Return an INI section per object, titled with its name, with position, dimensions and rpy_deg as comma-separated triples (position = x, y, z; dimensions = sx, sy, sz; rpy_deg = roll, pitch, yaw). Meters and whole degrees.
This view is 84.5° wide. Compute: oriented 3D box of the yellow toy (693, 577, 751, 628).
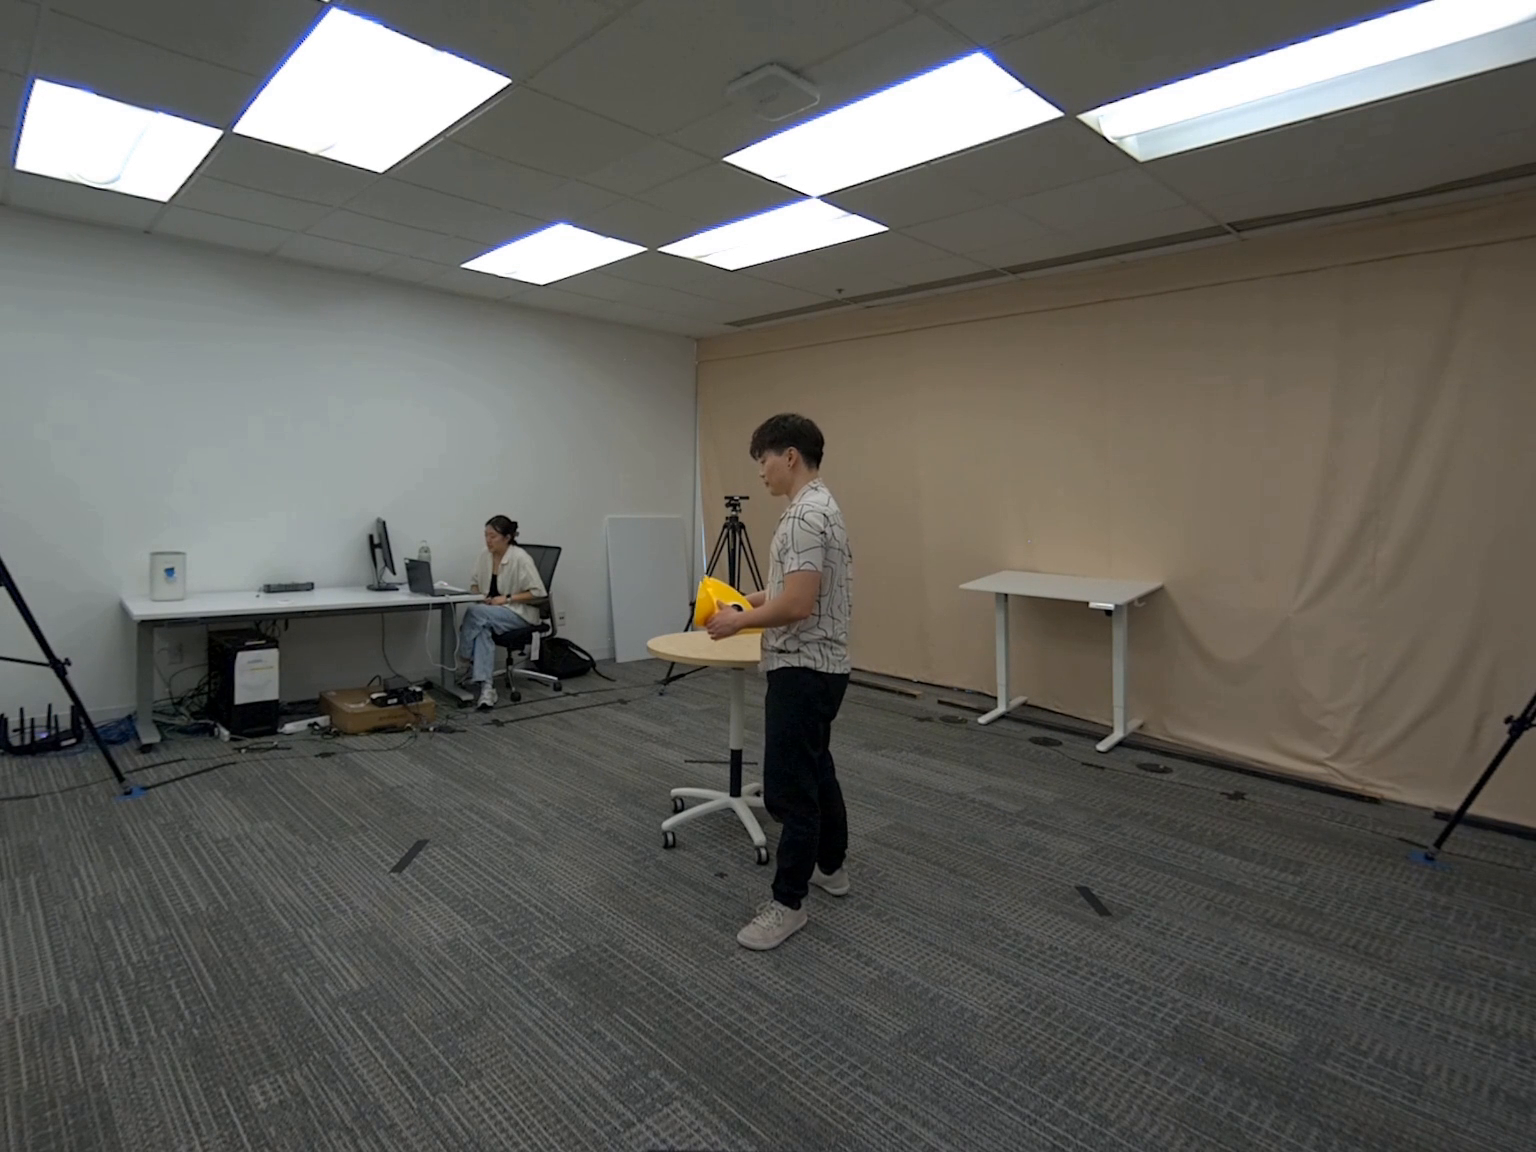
[yellow toy]
position = -0.122, 0.114, 2.809
dimensions = 0.232, 0.192, 0.205
rpy_deg = 8, 9, 5
